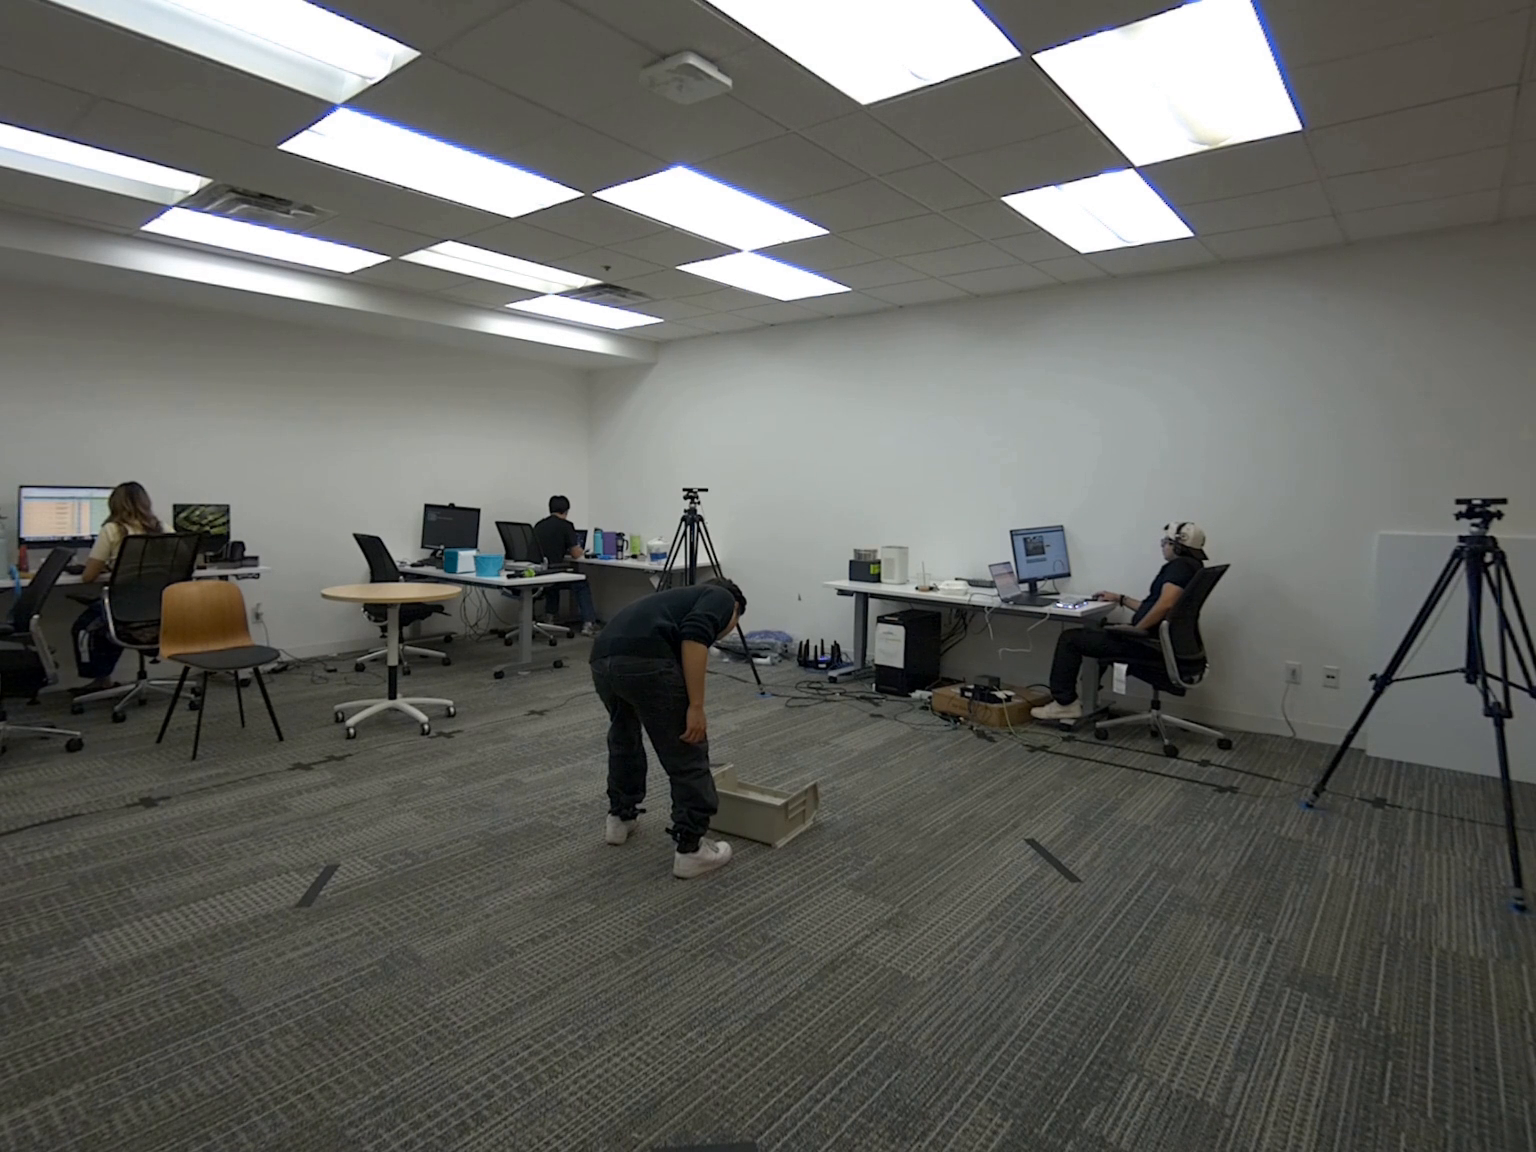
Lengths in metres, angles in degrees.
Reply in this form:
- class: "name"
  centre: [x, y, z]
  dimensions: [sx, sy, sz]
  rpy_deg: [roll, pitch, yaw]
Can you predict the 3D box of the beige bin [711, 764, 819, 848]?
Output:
- class: "beige bin"
  centre: [-0.059, 0.942, 3.555]
  dimensions: [0.435, 0.188, 0.368]
  rpy_deg: [4, 7, 30]
